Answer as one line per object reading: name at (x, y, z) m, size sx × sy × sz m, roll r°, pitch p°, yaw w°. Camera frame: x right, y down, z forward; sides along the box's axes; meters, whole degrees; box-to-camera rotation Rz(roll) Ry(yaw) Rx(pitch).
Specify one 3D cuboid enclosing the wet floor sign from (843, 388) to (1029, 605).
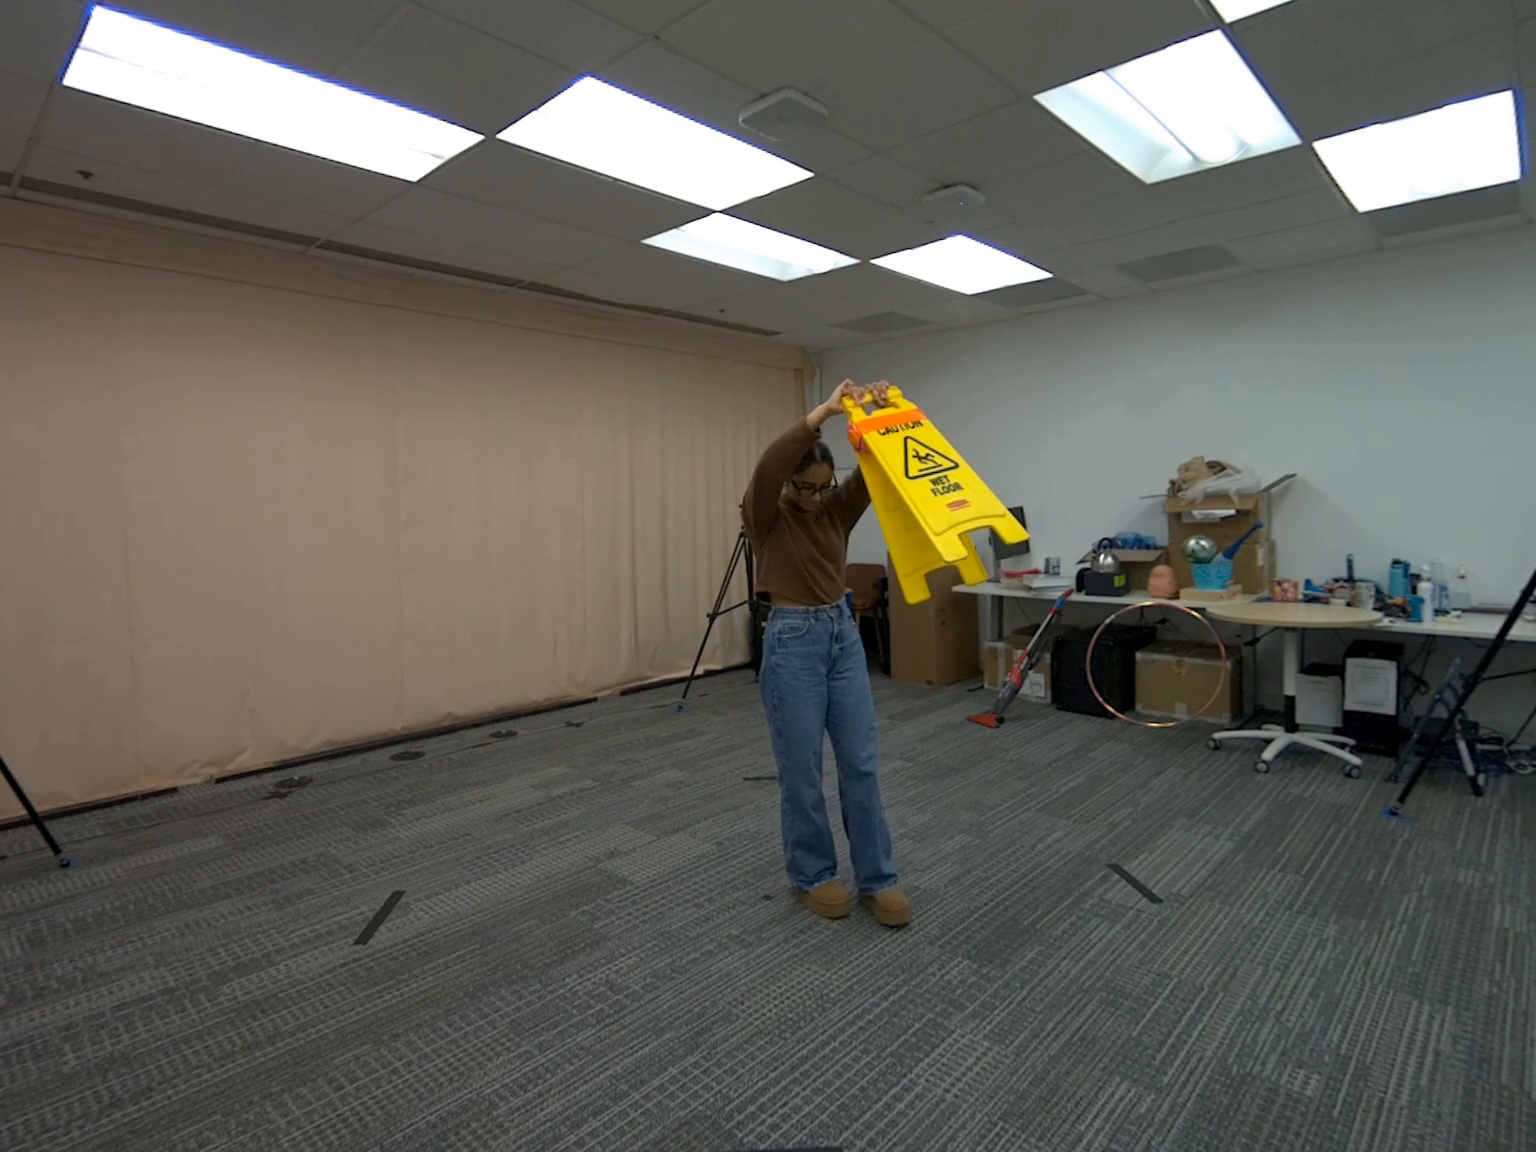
wet floor sign at (0.436, -0.288, 2.470) m, size 0.278 × 0.659 × 0.288 m, roll -15°, pitch -23°, yaw -20°
